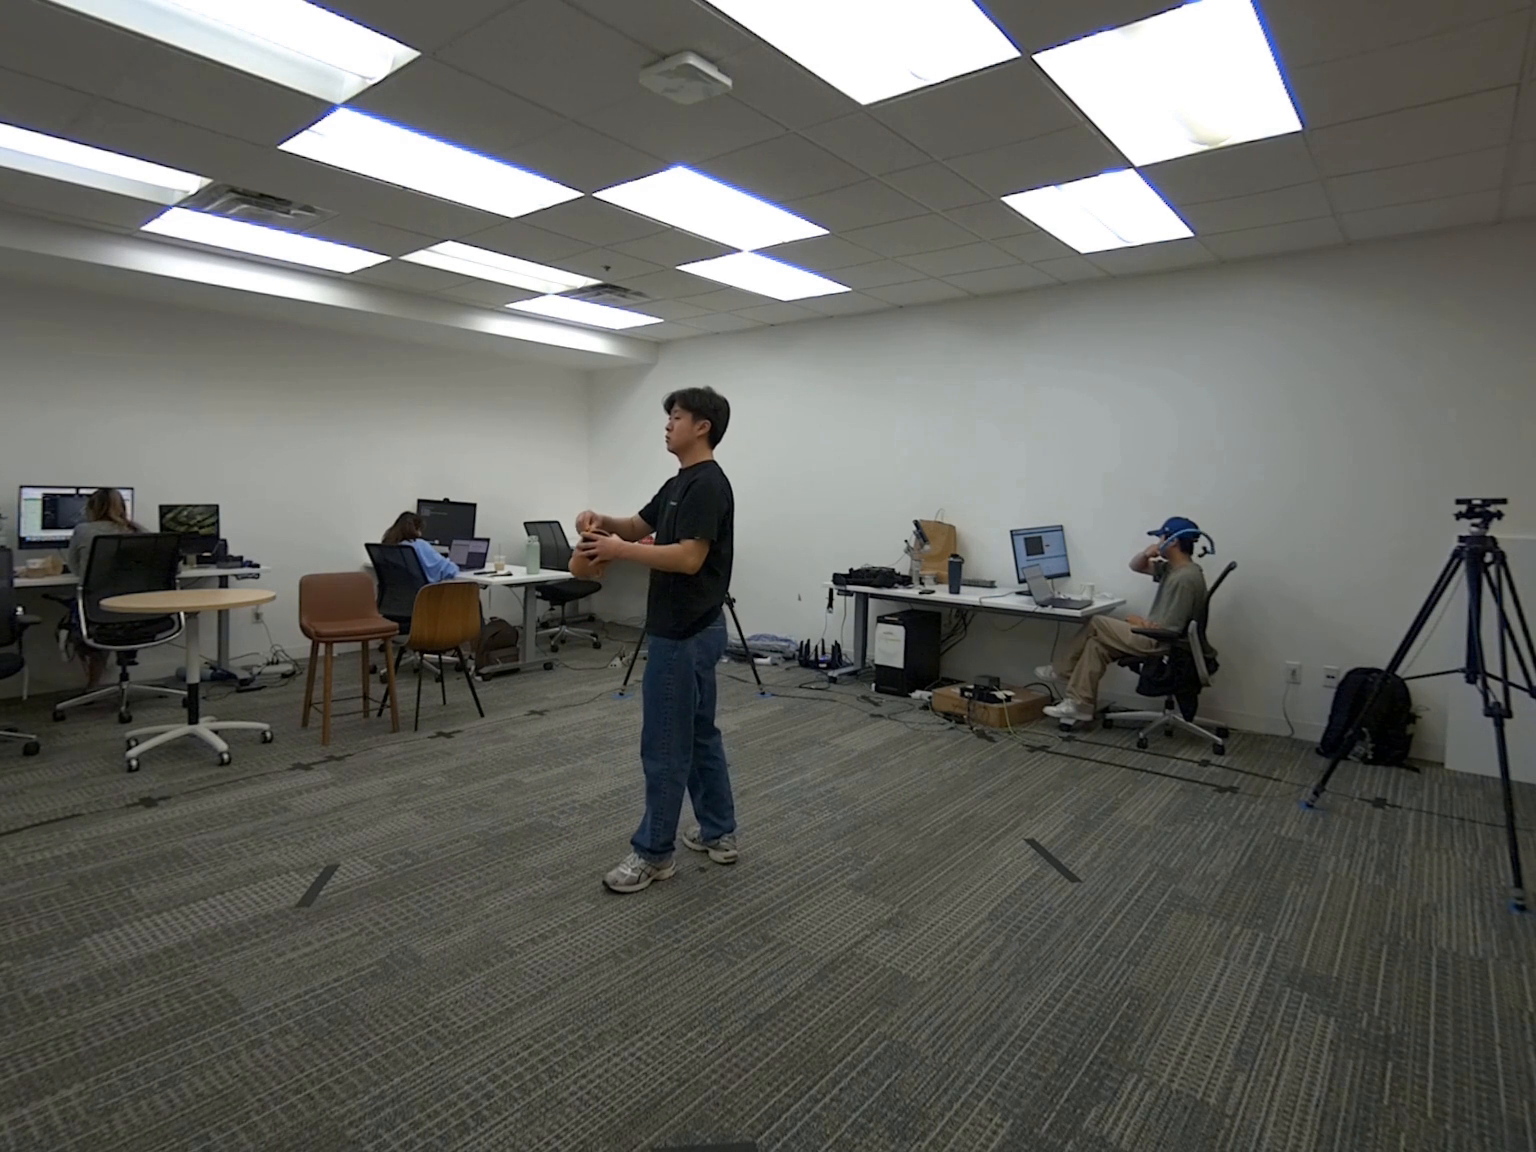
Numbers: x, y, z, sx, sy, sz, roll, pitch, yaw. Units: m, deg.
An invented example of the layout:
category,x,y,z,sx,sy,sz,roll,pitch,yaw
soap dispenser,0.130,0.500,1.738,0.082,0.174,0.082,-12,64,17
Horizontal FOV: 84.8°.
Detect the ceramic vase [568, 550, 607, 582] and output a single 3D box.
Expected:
category,x,y,z,sx,sy,sz,roll,pitch,yaw
ceramic vase,-0.658,-0.071,3.072,0.132,0.160,0.221,32,-29,-14
